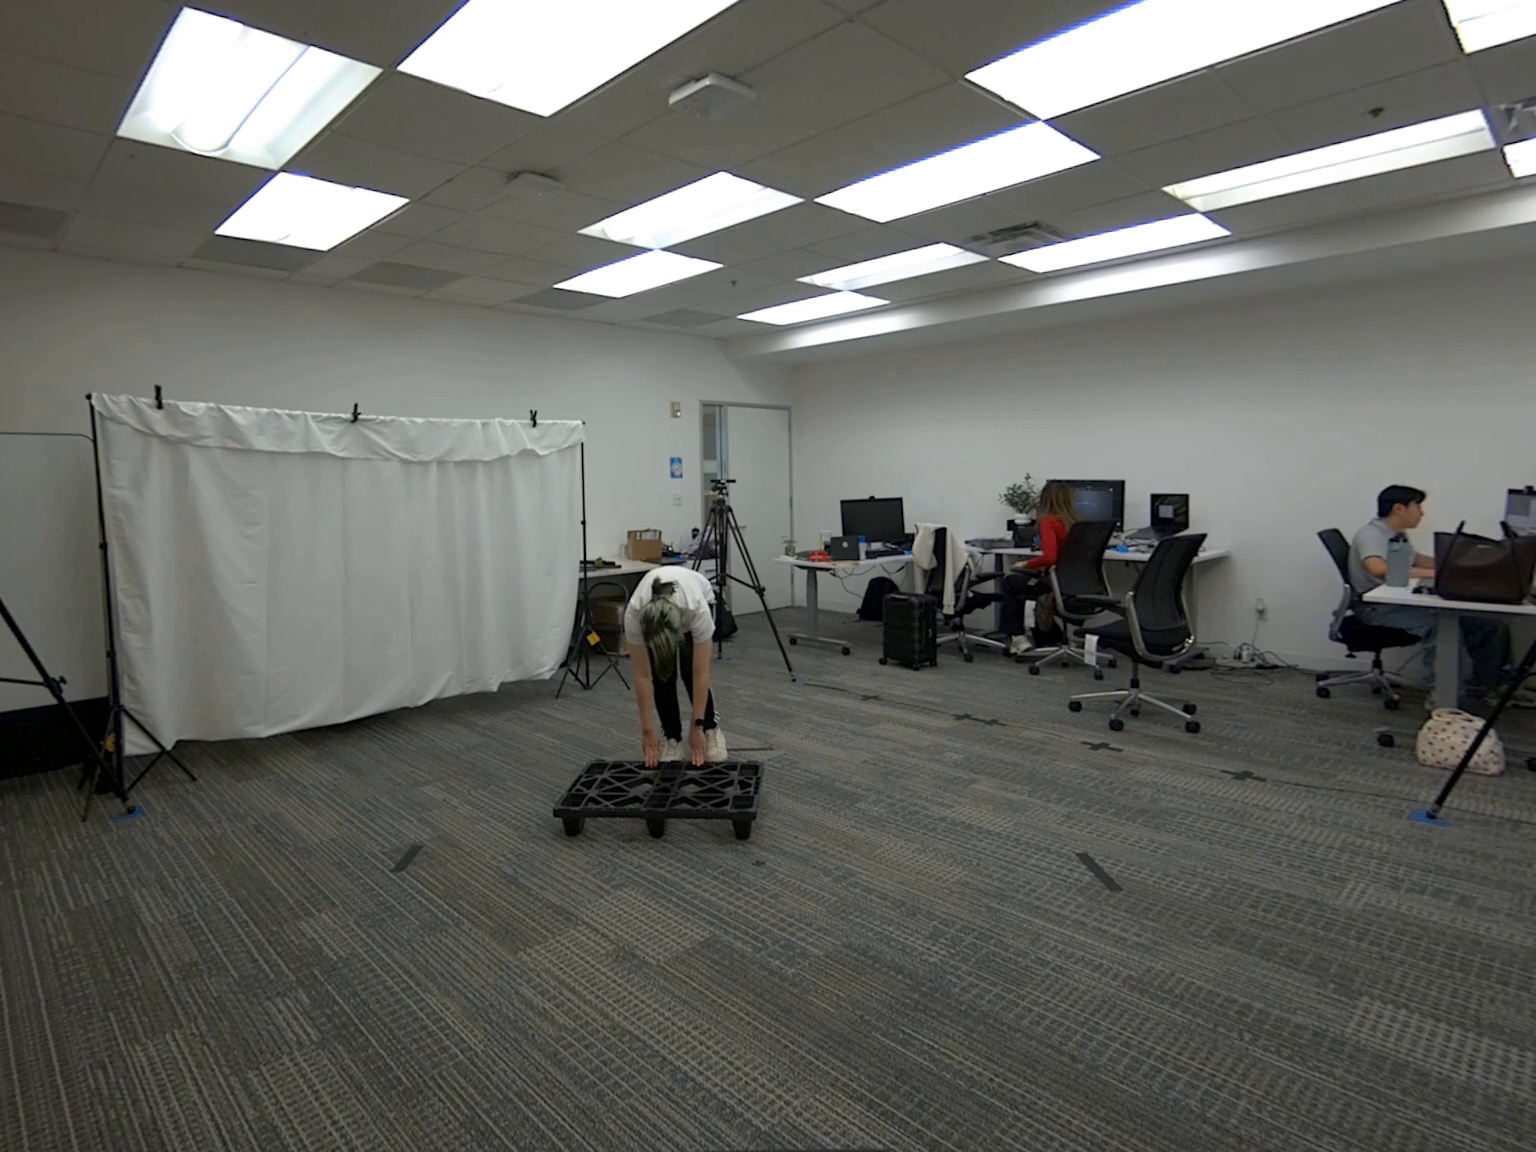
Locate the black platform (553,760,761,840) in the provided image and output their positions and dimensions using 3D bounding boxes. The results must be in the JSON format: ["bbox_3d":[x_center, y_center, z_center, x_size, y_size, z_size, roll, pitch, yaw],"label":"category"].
[{"bbox_3d":[-0.429,0.933,3.586,0.810,0.143,0.604,-1,5,4],"label":"black platform"}]
